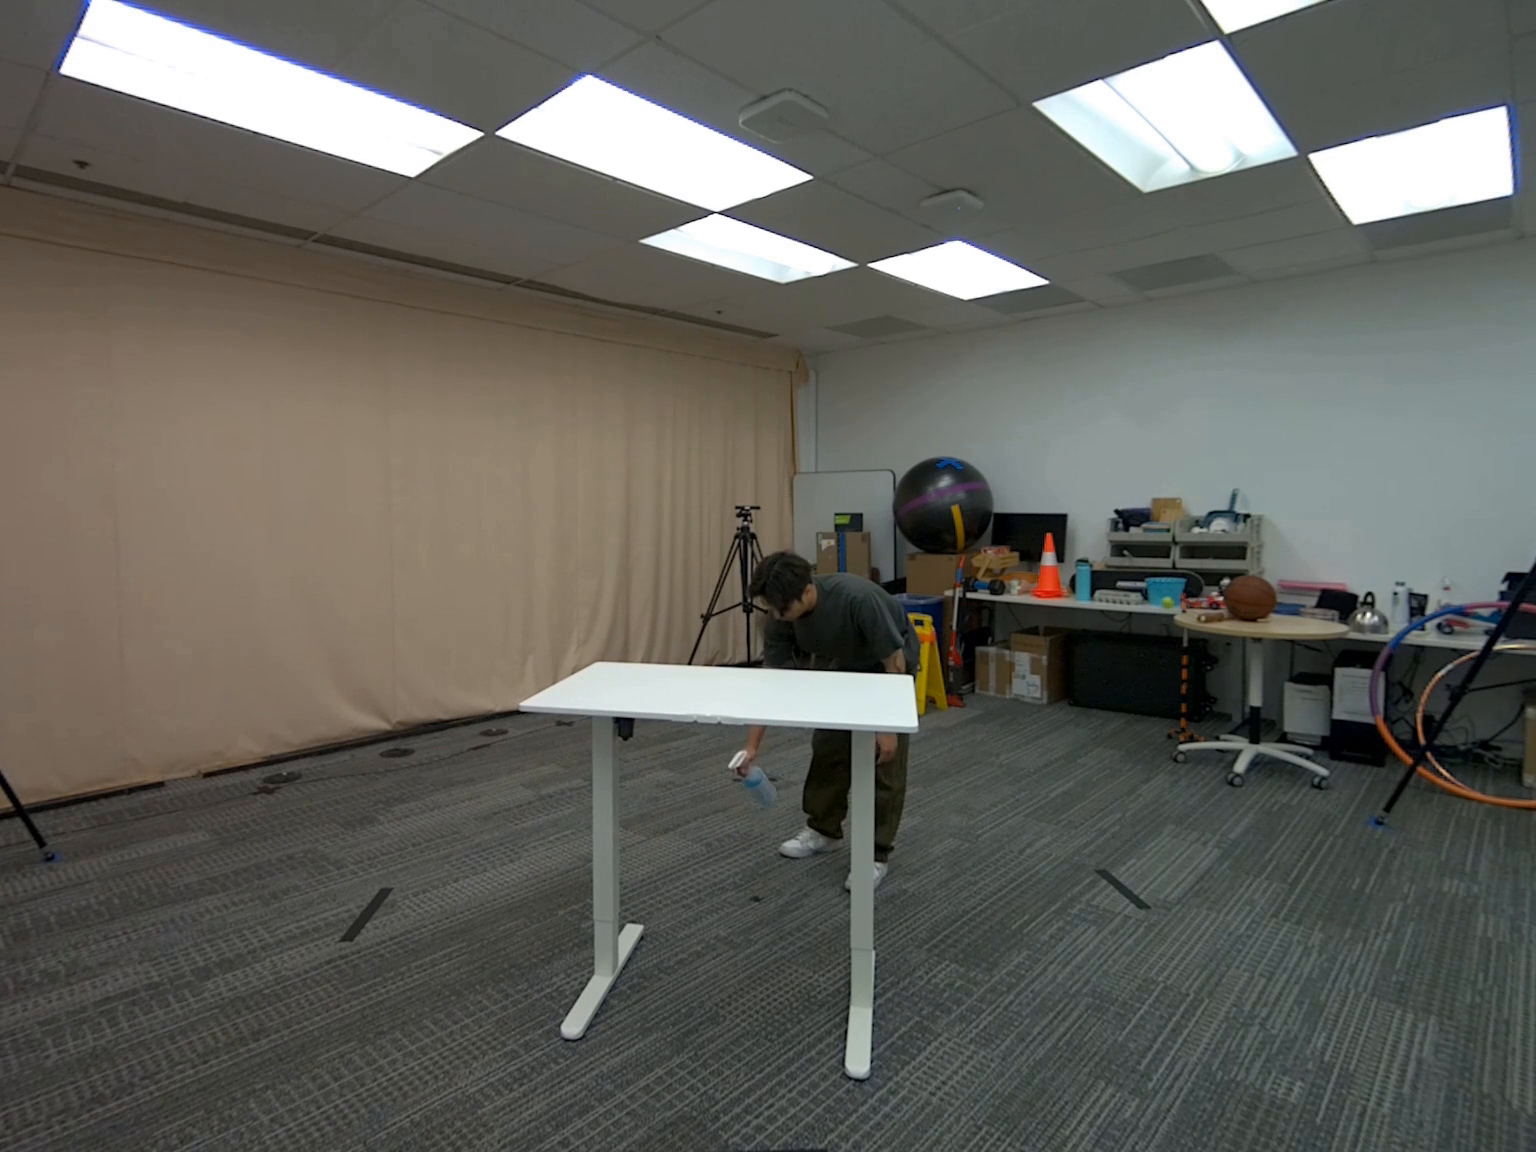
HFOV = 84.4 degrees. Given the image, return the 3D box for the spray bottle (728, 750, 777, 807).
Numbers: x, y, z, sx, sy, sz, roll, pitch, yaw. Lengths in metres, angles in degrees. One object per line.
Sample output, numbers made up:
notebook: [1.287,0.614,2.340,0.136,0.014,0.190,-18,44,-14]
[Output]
spray bottle: [-0.050,0.772,3.211,0.090,0.288,0.090,-34,39,-4]
